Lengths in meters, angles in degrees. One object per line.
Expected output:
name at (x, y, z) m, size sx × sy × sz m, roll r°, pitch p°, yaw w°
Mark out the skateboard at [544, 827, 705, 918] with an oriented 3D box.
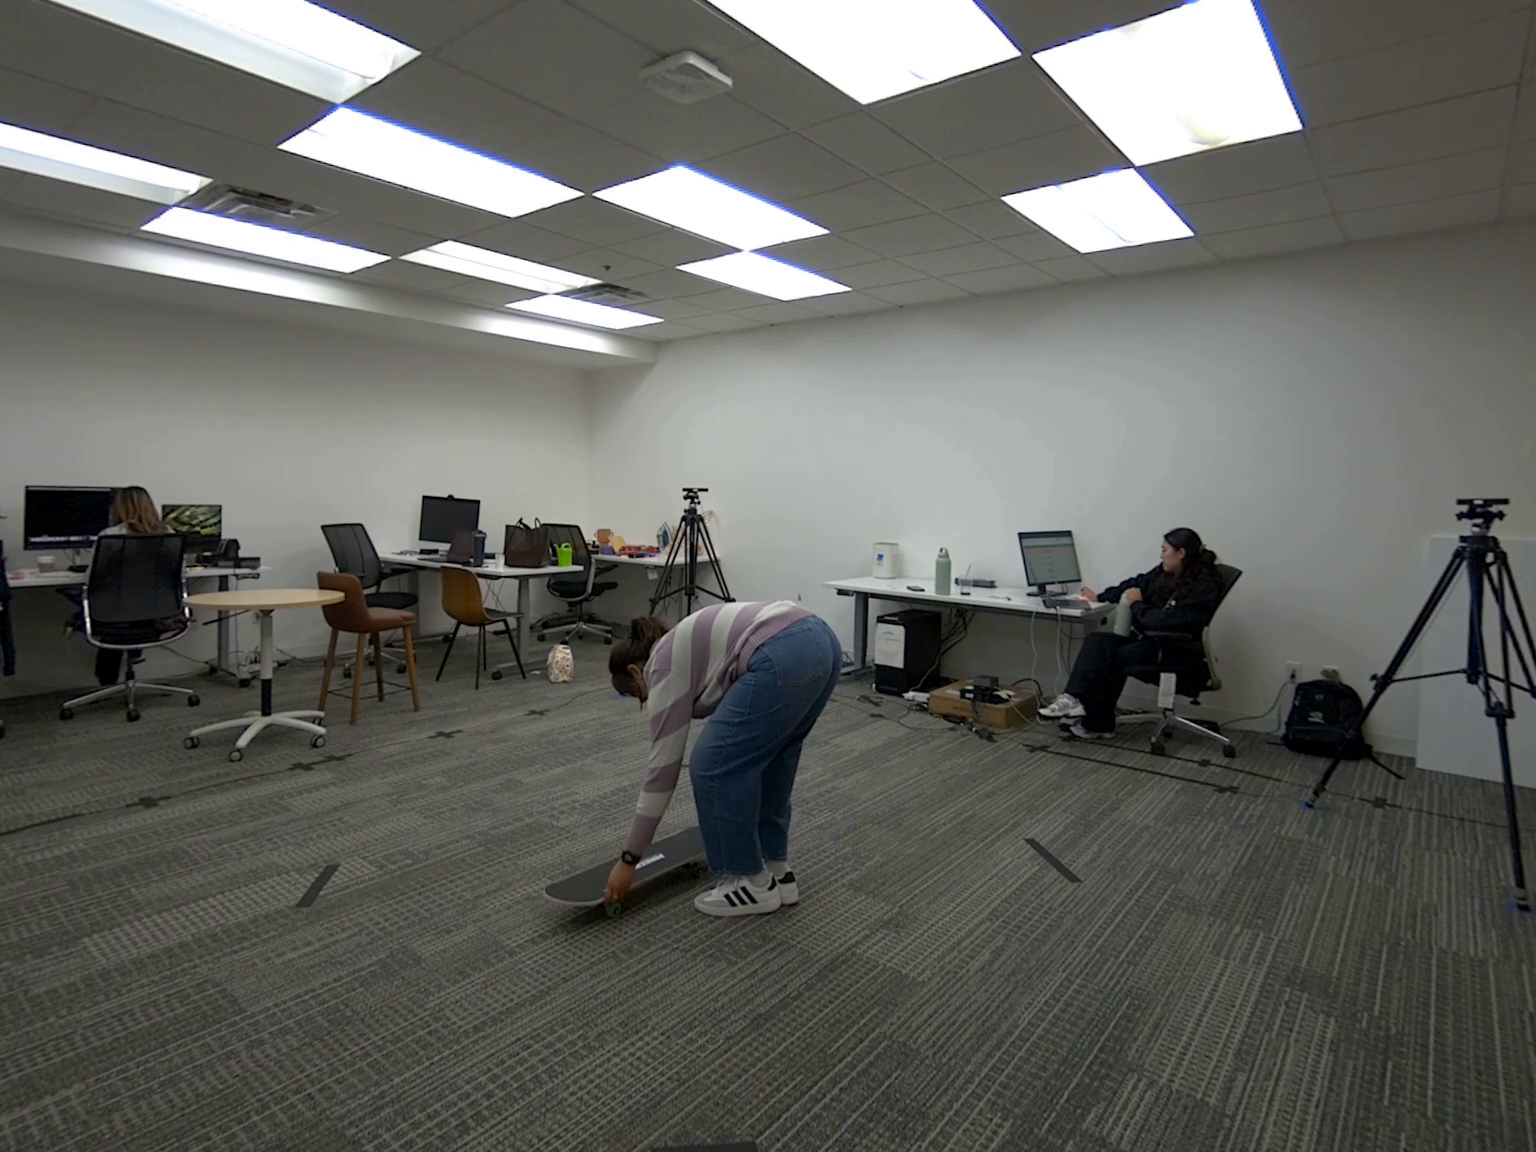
skateboard at (-0.441, 1.020, 2.944) m, size 0.200 × 0.110 × 0.762 m, roll 4°, pitch 6°, yaw 40°
